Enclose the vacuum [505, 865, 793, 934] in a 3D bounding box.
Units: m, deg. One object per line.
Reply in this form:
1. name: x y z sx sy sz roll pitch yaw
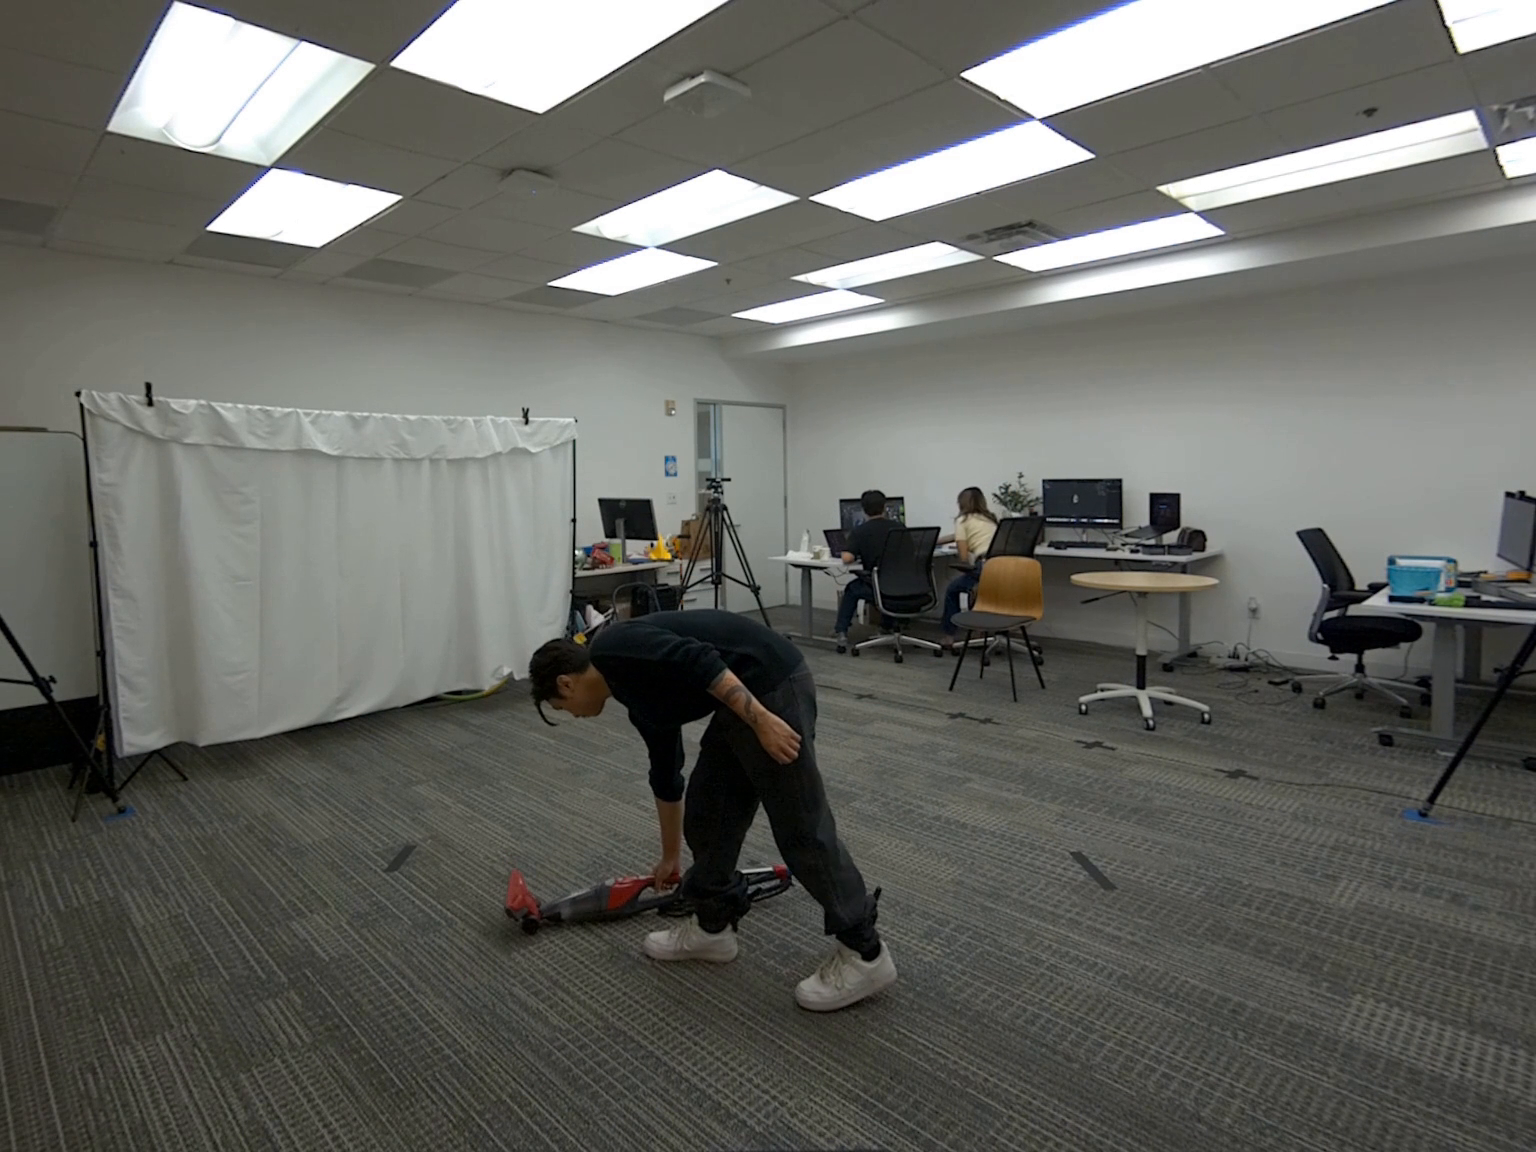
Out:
1. vacuum: -0.273 1.019 2.766 1.039 0.142 0.257 -1 12 -10
